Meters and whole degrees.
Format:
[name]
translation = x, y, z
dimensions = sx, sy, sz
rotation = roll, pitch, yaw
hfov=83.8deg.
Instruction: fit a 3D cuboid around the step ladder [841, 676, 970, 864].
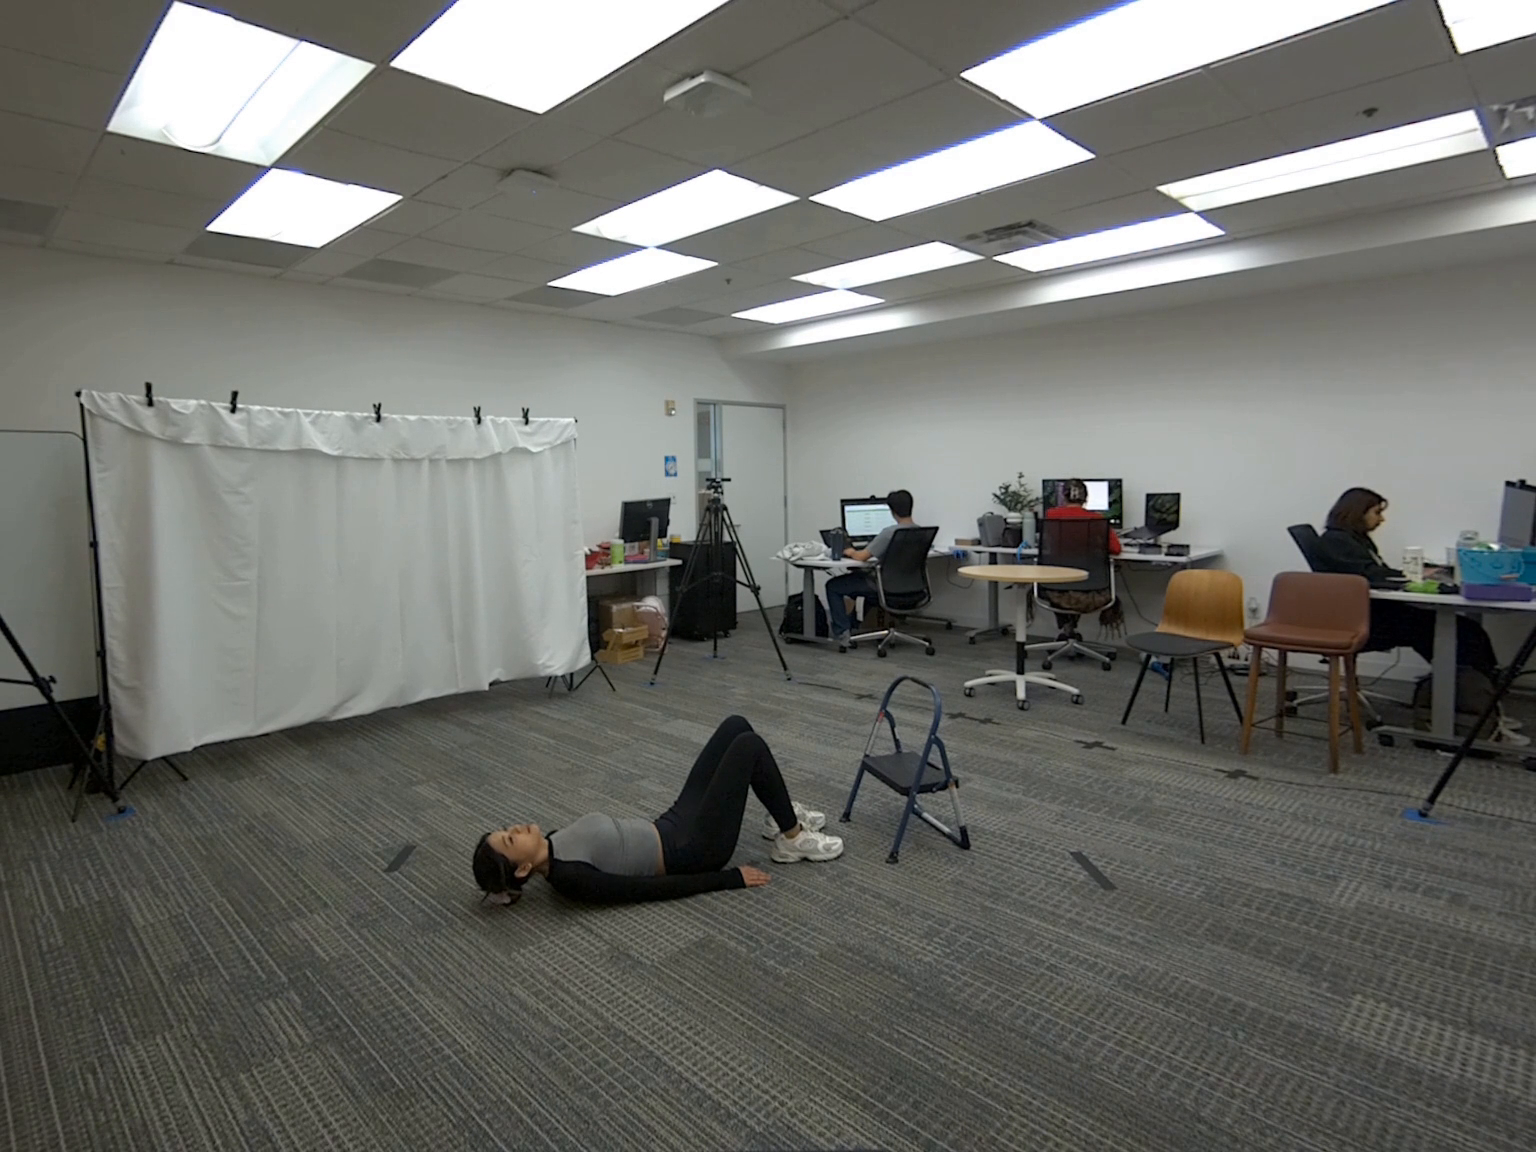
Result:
[step ladder]
translation = 0.523, 0.708, 3.315
dimensions = 0.343, 0.604, 0.439
rotation = -3, 4, -19
